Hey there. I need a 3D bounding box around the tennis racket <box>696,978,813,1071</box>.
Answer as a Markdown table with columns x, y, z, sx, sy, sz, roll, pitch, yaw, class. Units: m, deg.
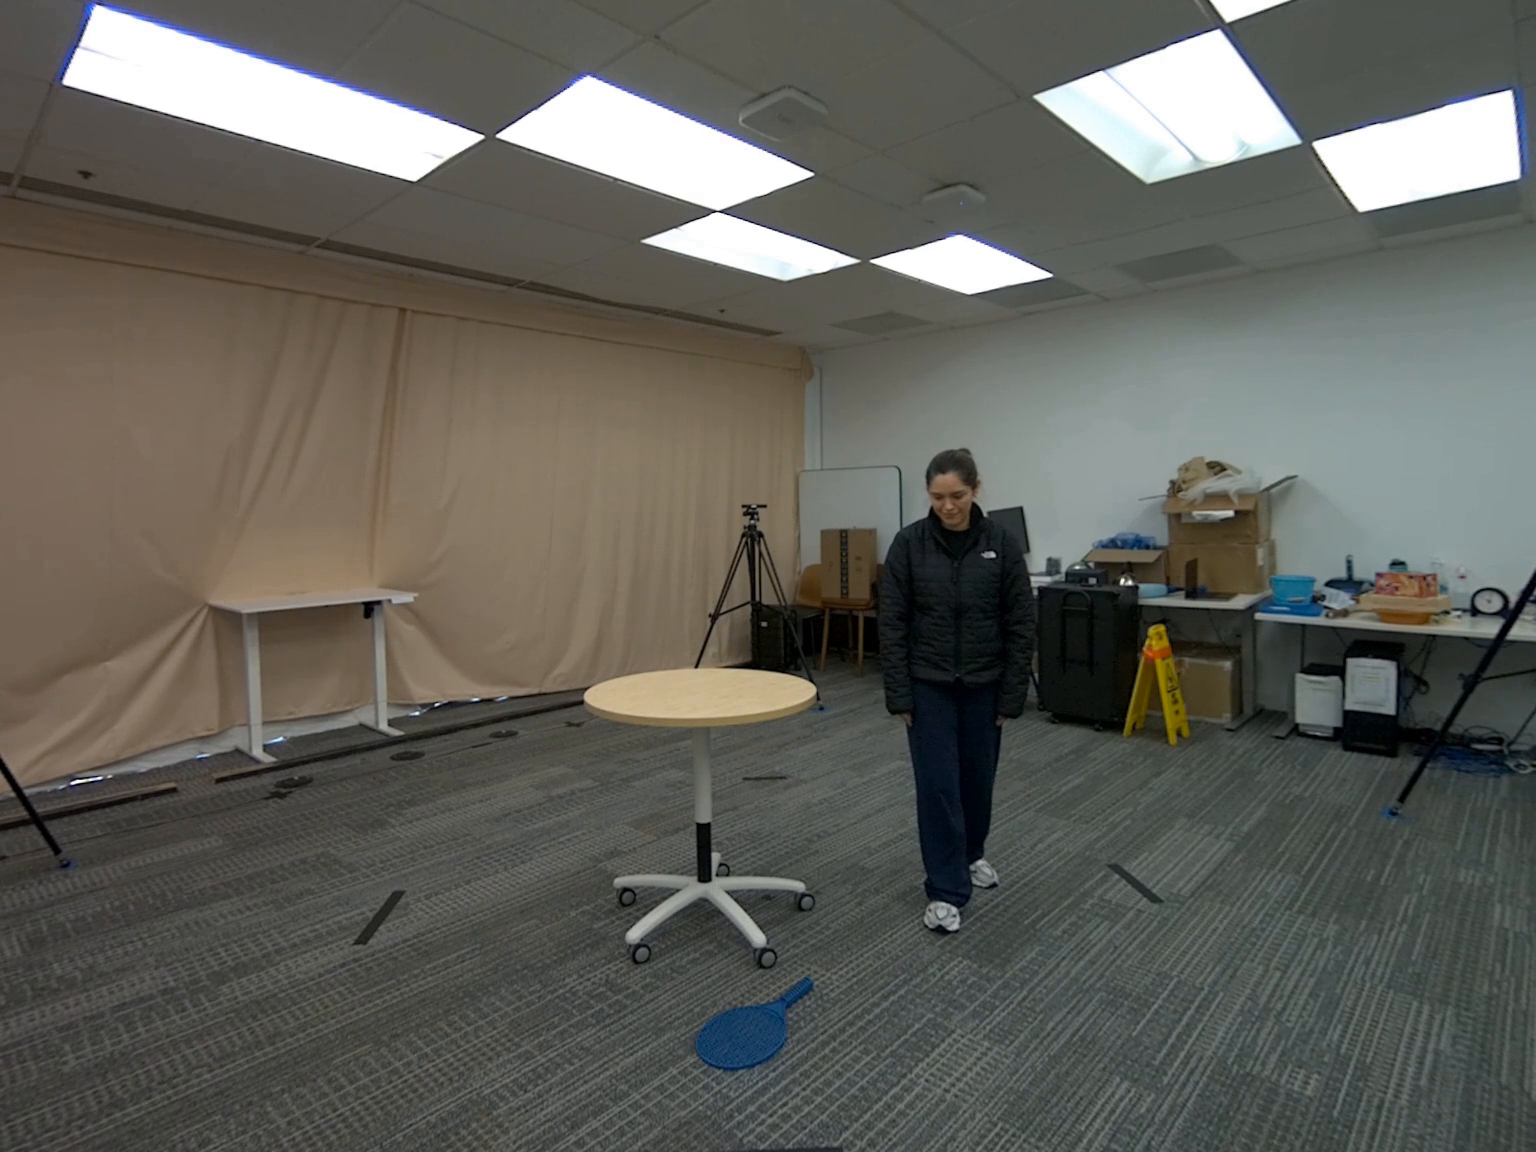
| x | y | z | sx | sy | sz | roll | pitch | yaw | class |
| --- | --- | --- | --- | --- | --- | --- | --- | --- | --- |
| 0.003 | 1.189 | 2.260 | 0.221 | 0.031 | 0.420 | 3 | 8 | 42 | tennis racket |
